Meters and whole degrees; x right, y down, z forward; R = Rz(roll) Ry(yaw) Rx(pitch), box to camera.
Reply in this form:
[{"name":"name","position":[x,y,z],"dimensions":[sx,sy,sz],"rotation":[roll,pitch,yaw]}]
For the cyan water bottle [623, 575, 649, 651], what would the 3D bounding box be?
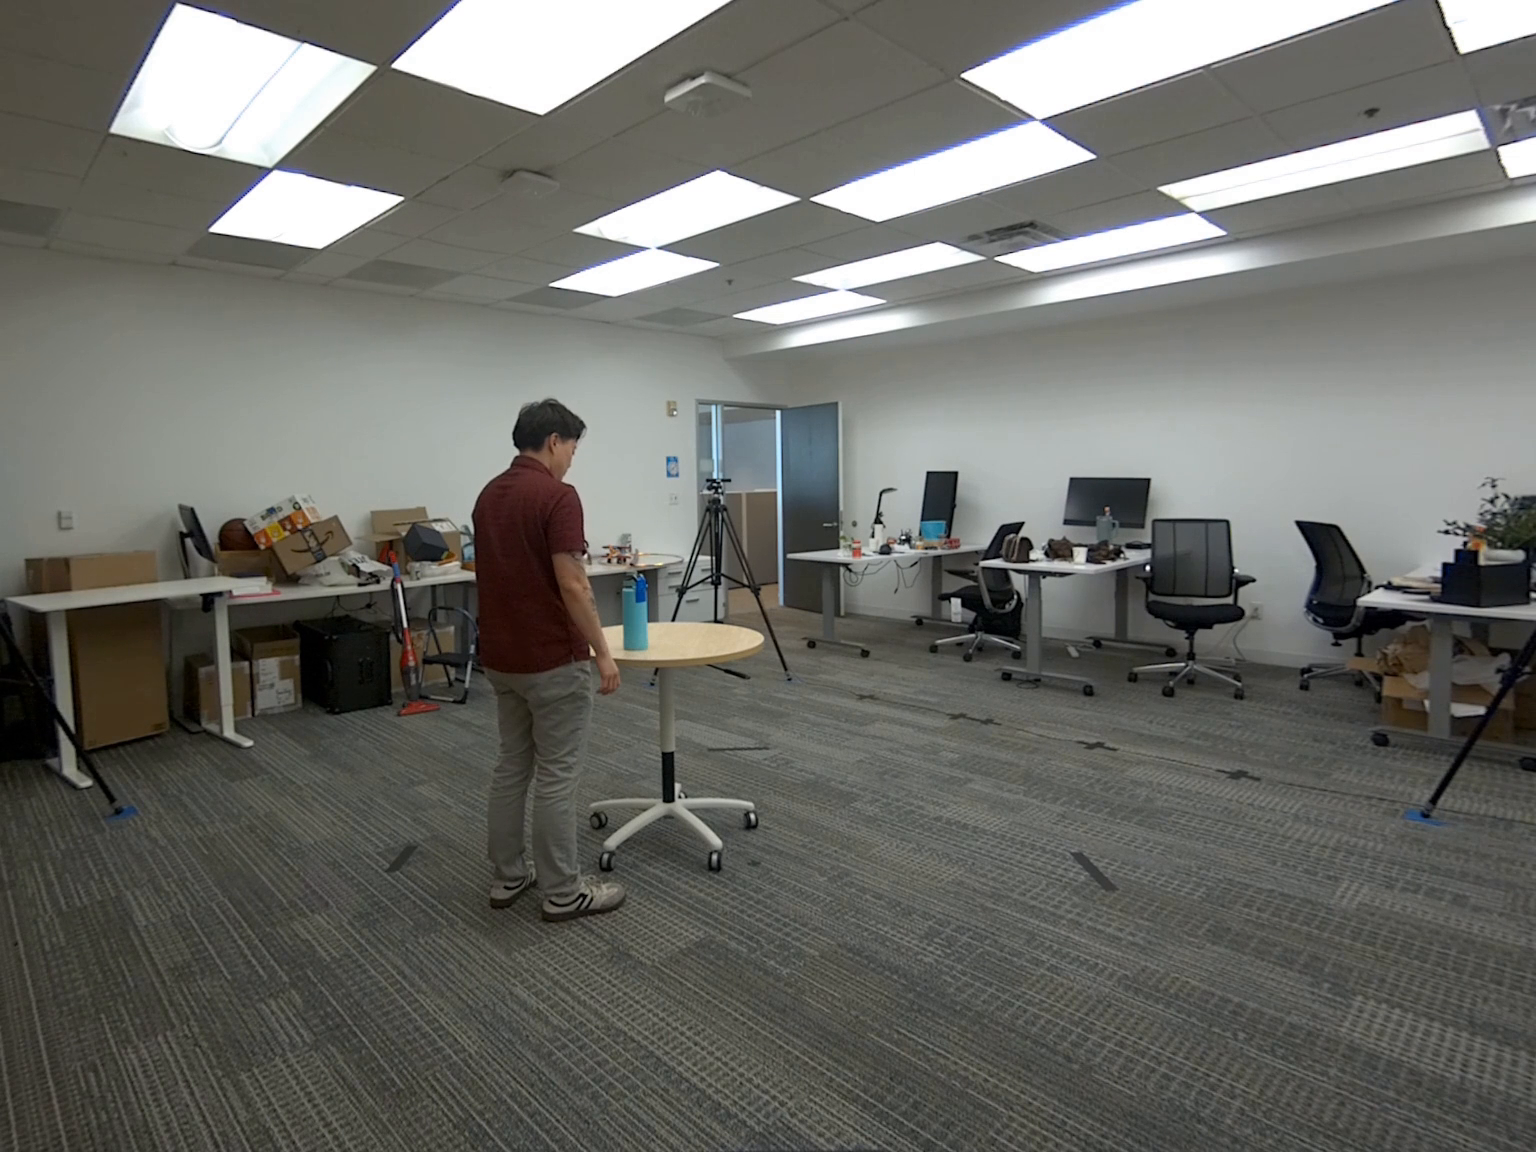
[{"name":"cyan water bottle","position":[-0.483,0.126,3.125],"dimensions":[0.092,0.283,0.092],"rotation":[1,2,-2]}]
